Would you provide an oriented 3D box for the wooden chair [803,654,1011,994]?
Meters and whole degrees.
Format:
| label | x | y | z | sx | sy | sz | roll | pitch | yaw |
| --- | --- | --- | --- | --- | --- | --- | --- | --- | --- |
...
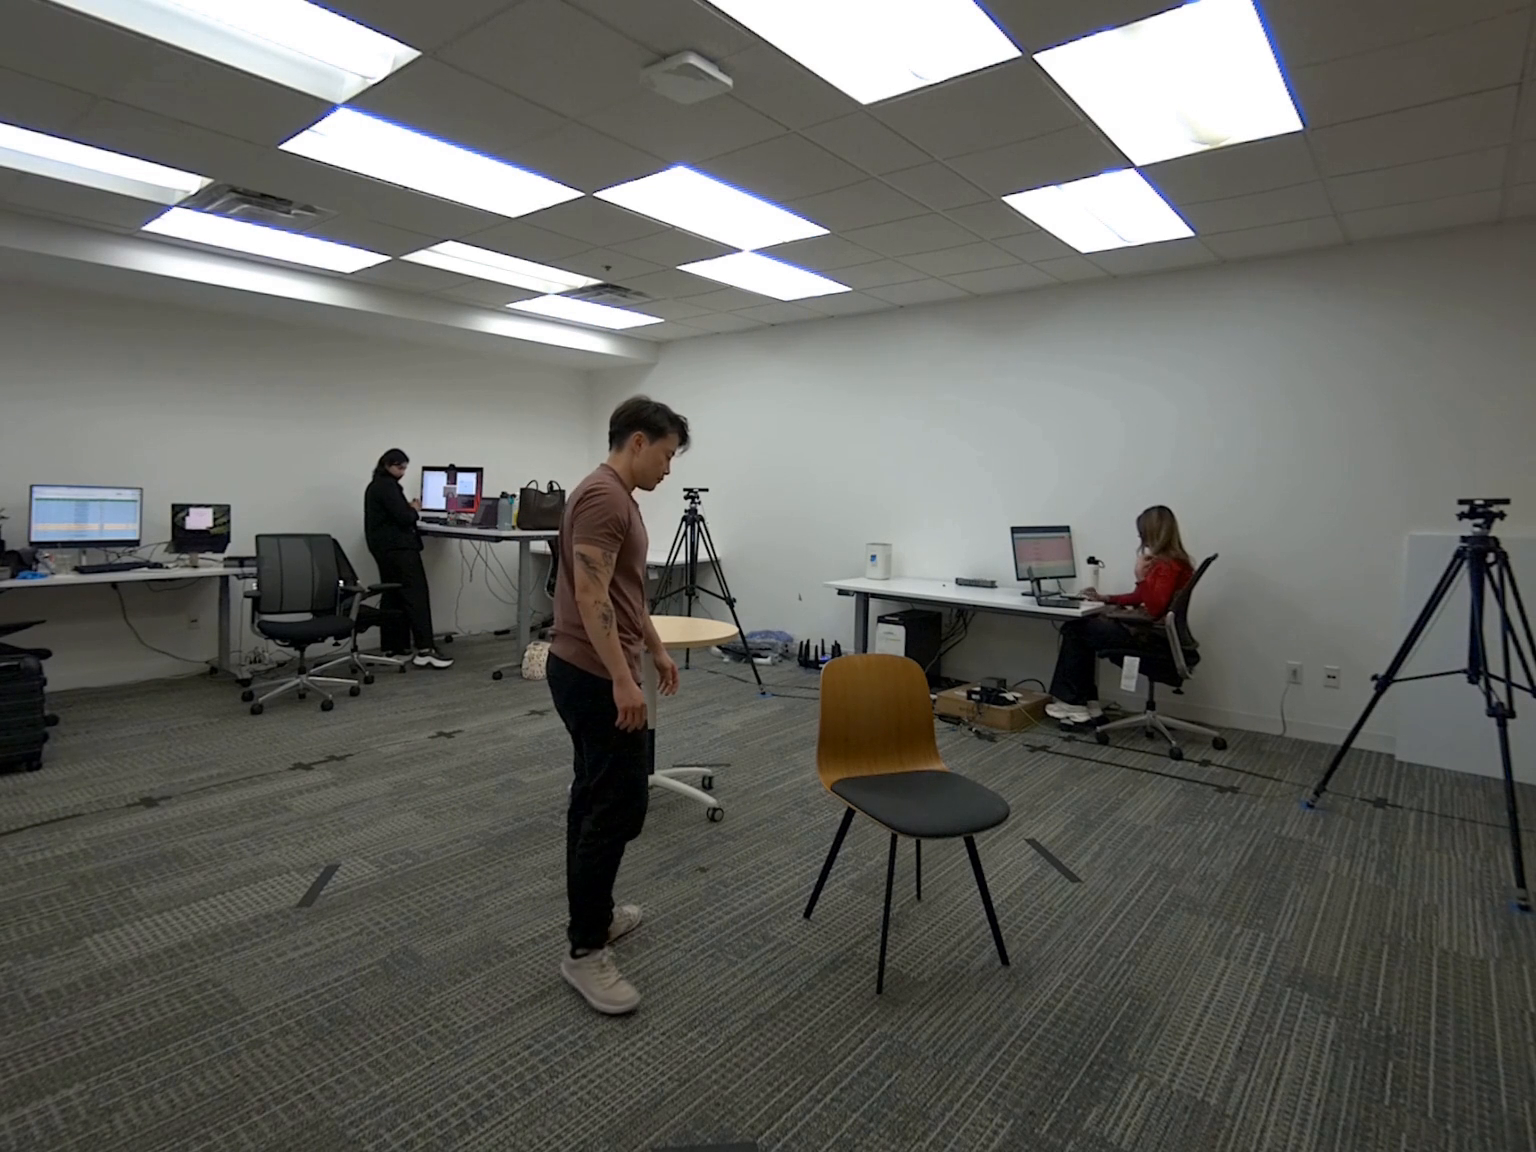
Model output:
| label | x | y | z | sx | sy | sz | roll | pitch | yaw |
| --- | --- | --- | --- | --- | --- | --- | --- | --- | --- |
| wooden chair | 0.423 | 0.706 | 2.607 | 0.467 | 0.878 | 0.535 | 0 | 0 | -24 |
